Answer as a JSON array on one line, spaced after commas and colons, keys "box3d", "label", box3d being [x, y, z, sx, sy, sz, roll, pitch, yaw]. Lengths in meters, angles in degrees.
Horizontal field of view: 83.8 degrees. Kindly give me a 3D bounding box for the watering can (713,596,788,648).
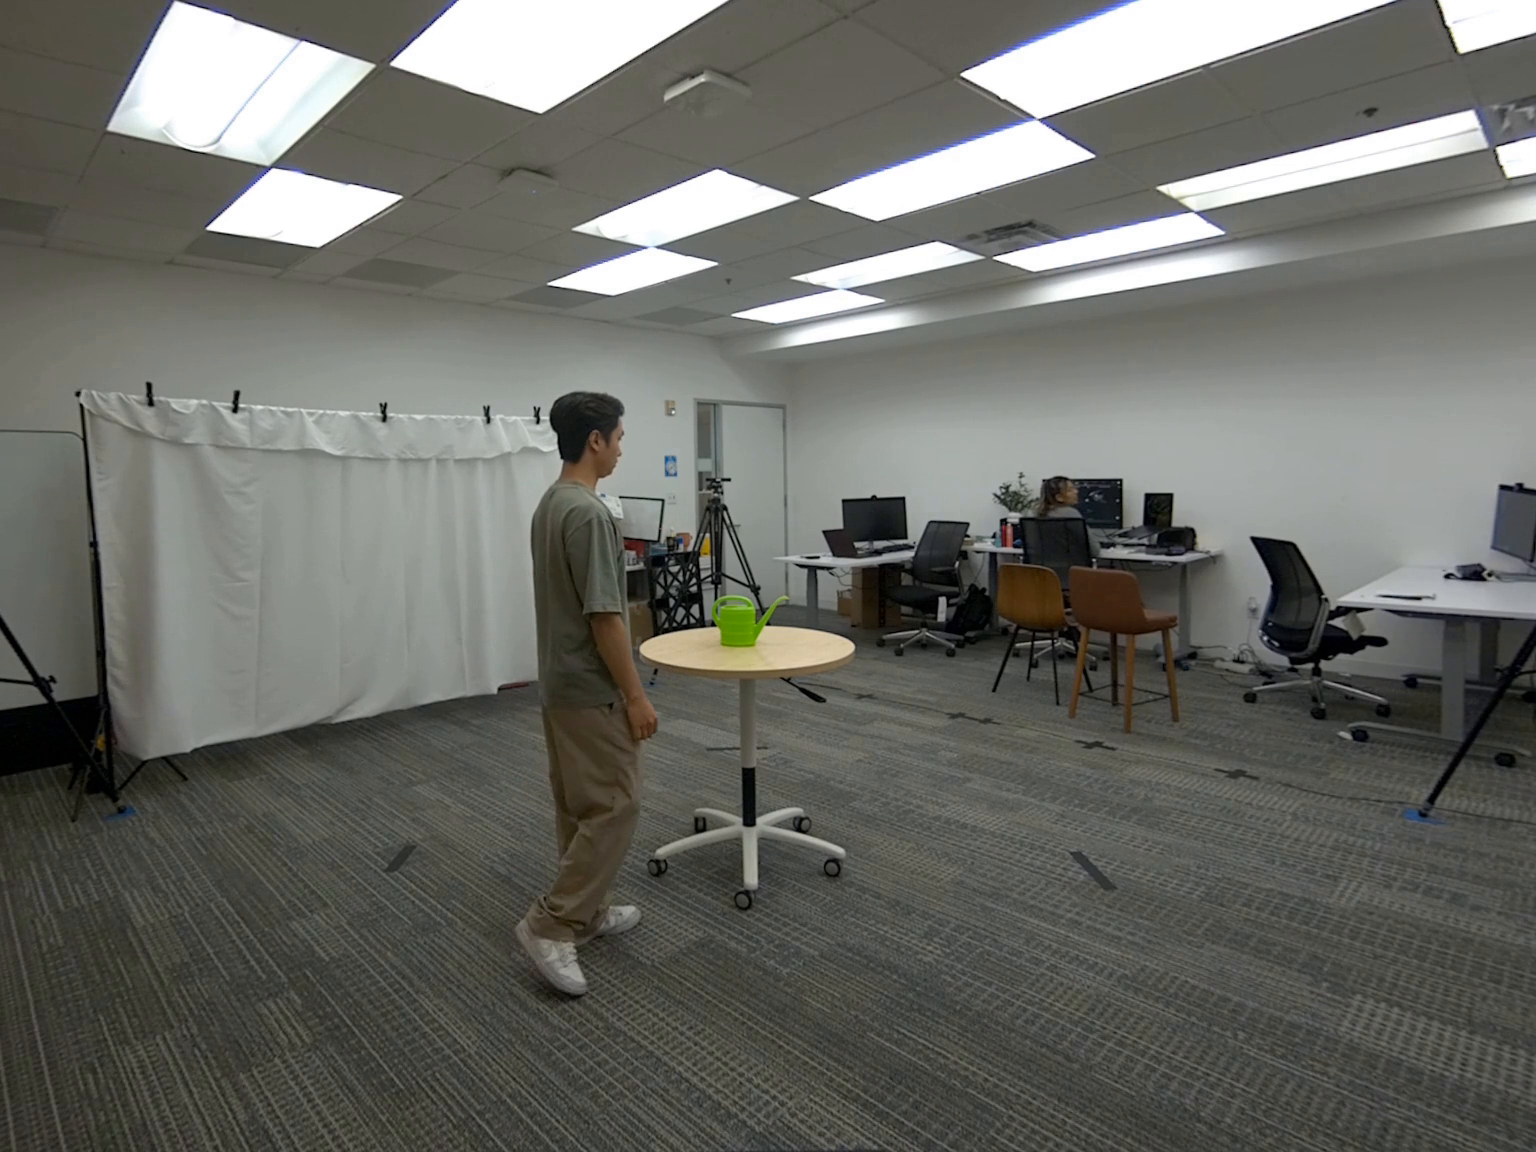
[{"box3d": [-0.069, 0.164, 3.051, 0.286, 0.176, 0.096, 1, 4, 32], "label": "watering can"}]
